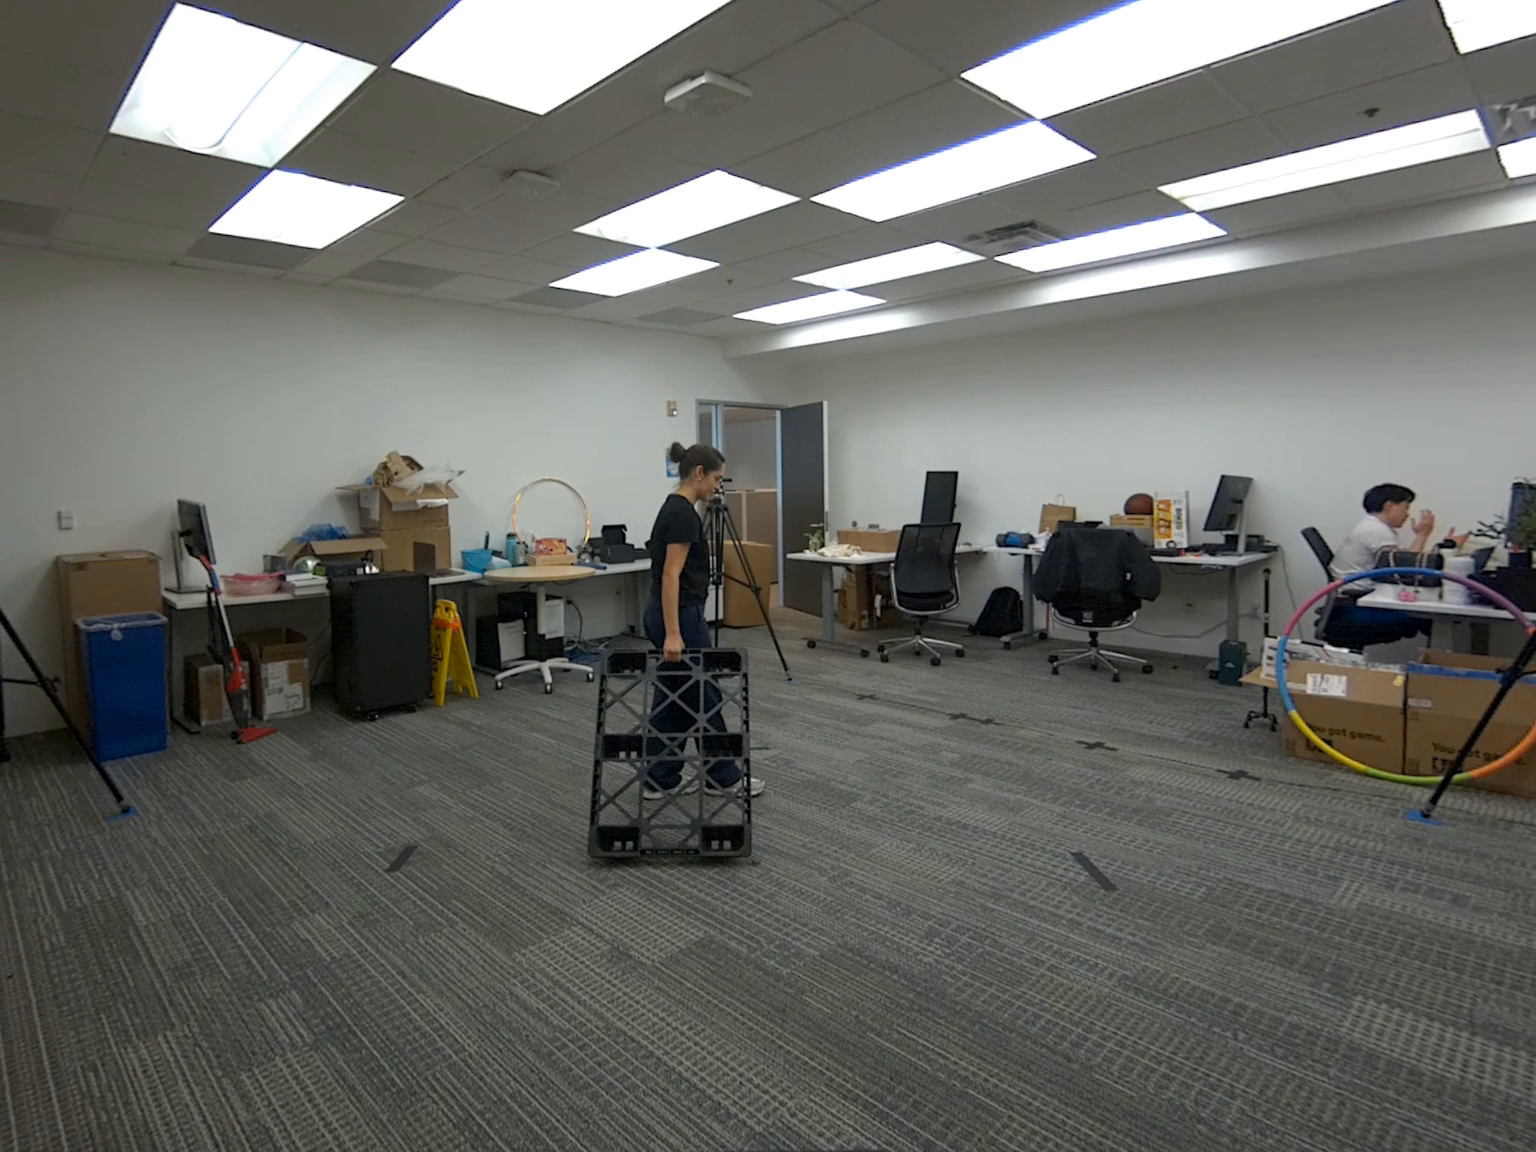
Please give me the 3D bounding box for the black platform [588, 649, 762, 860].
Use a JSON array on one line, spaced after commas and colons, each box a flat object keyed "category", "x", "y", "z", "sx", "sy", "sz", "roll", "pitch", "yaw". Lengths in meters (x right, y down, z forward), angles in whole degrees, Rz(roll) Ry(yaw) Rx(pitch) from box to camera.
[{"category": "black platform", "x": -0.371, "y": 0.675, "z": 3.341, "sx": 0.605, "sy": 0.824, "sz": 0.140, "roll": -1, "pitch": -28, "yaw": 0}]
